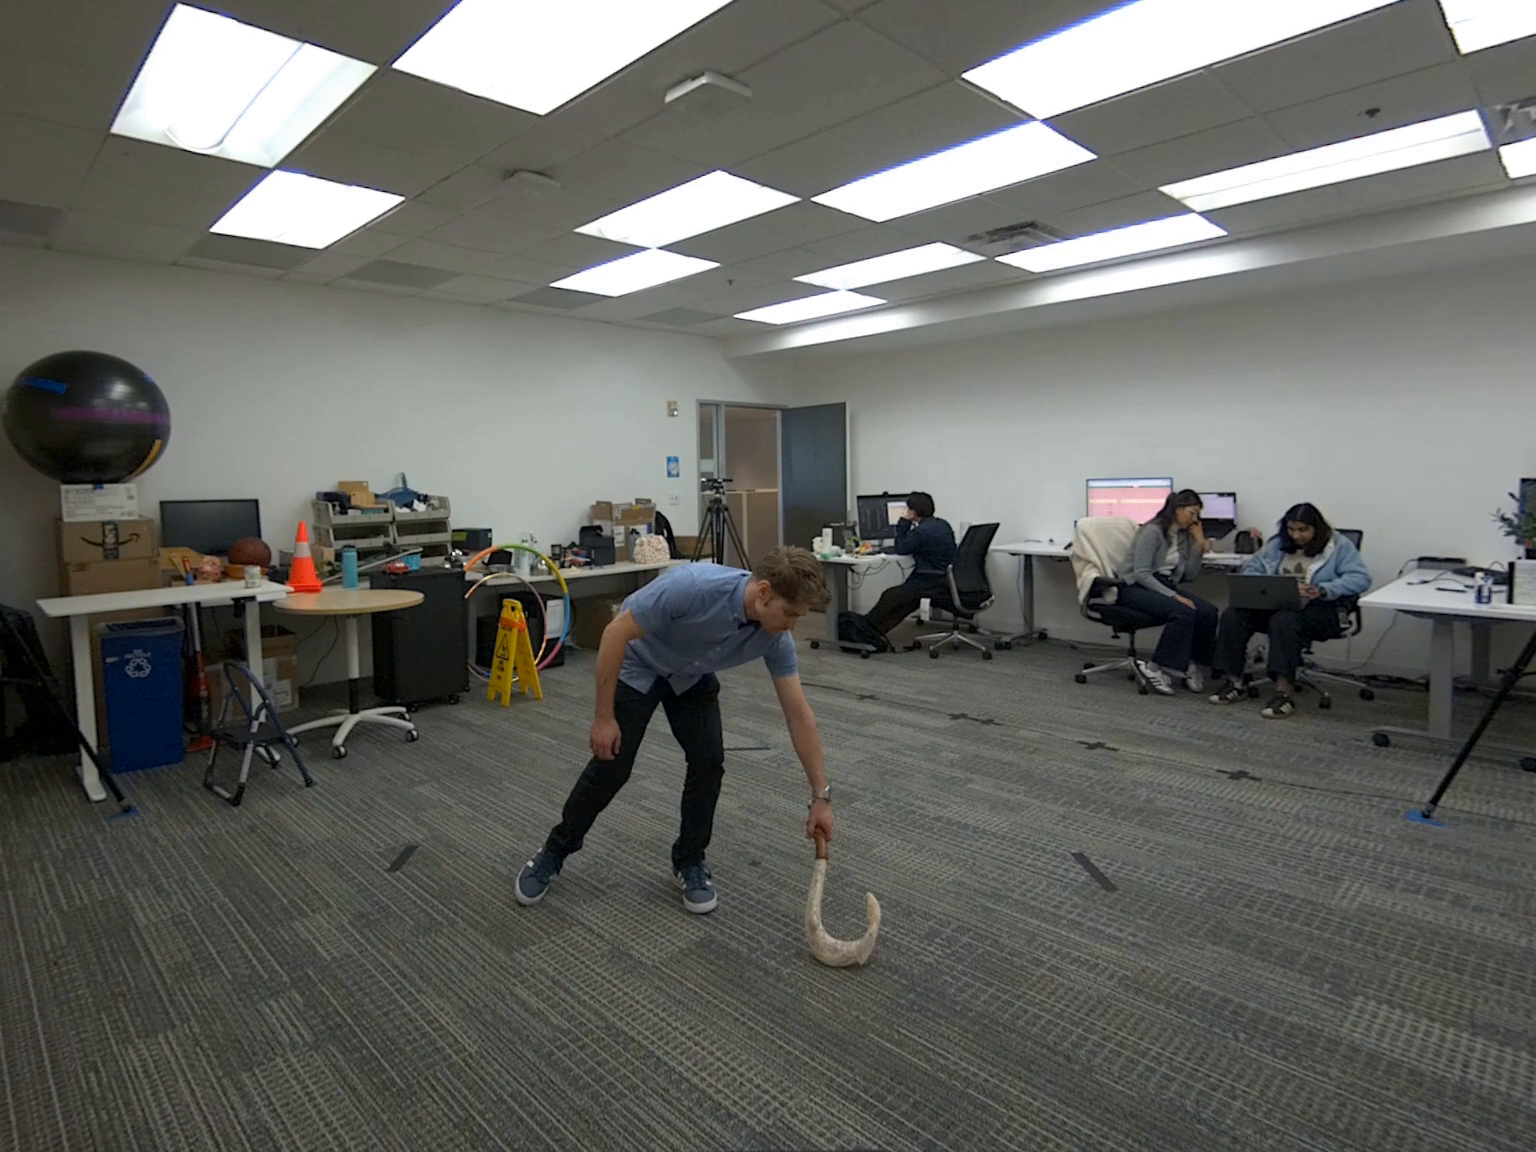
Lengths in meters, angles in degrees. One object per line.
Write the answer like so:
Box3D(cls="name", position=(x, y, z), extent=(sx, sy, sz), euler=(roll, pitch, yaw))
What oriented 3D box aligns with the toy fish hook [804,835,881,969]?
Box3D(cls="toy fish hook", position=(0.217, 0.921, 2.601), extent=(0.226, 0.520, 0.047), euler=(-7, -41, 7))
